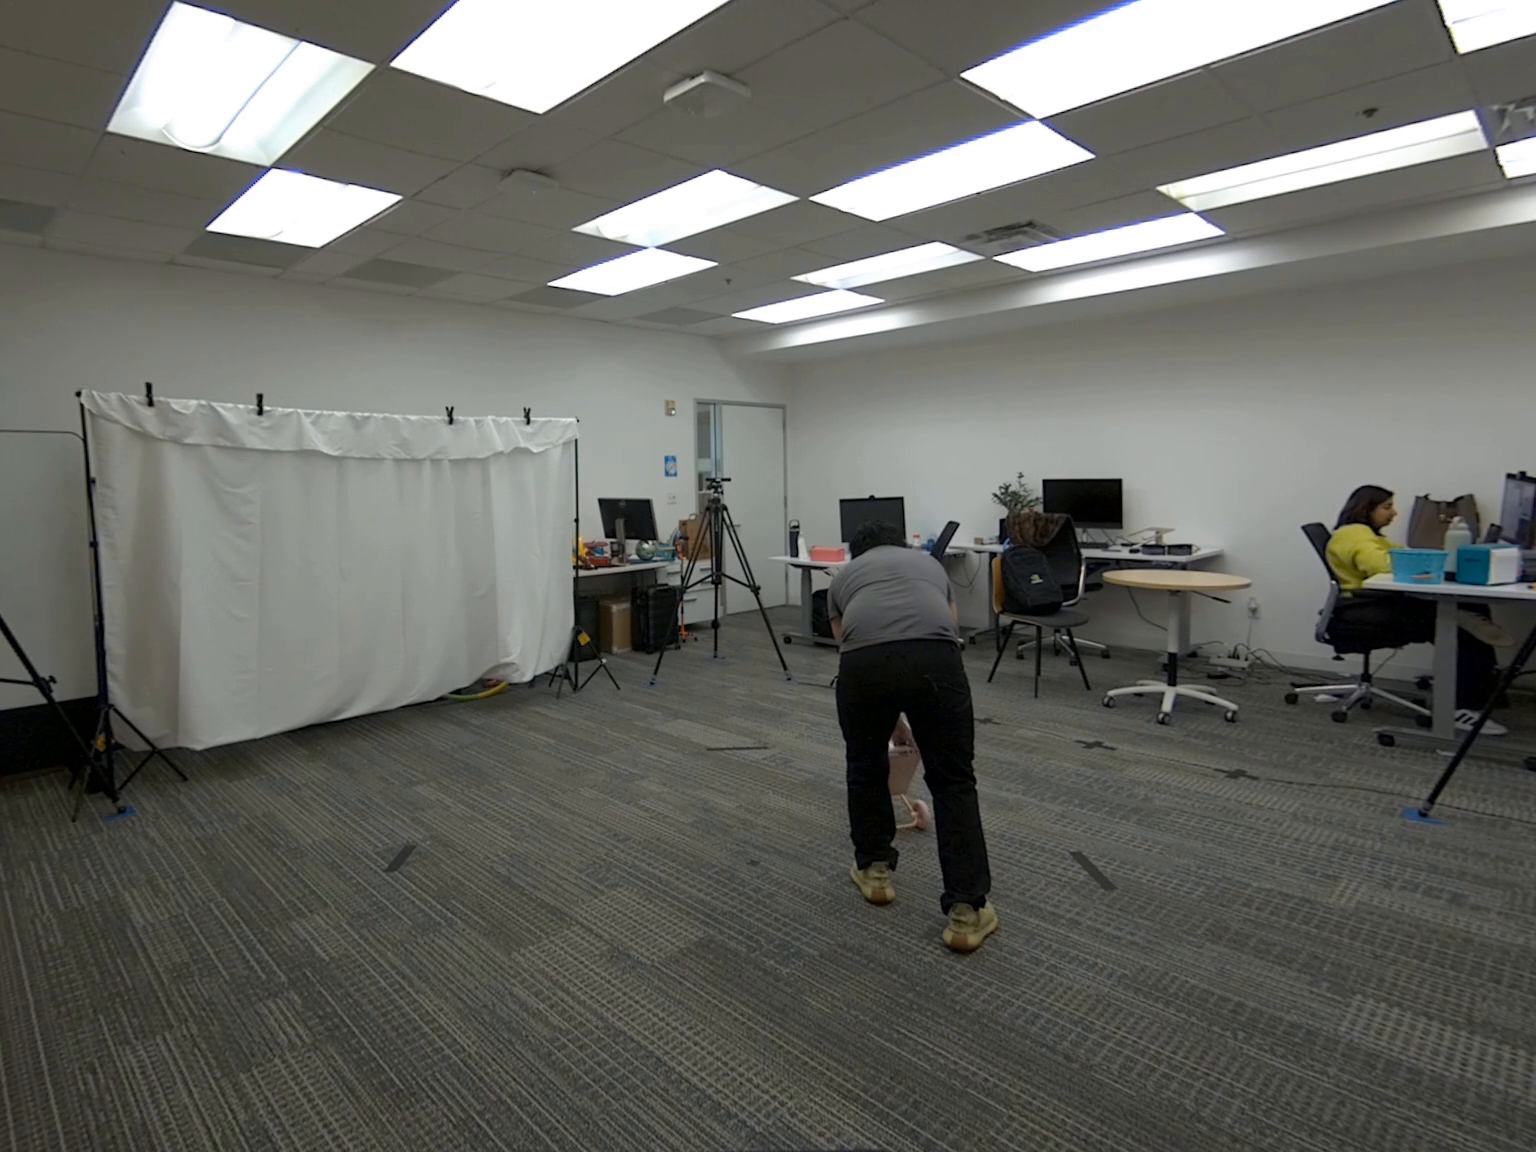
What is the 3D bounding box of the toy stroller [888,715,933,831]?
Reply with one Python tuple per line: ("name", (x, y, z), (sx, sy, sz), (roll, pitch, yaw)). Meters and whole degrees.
("toy stroller", (0.470, 0.776, 3.384), (0.278, 0.525, 0.352), (-2, 24, -14))
